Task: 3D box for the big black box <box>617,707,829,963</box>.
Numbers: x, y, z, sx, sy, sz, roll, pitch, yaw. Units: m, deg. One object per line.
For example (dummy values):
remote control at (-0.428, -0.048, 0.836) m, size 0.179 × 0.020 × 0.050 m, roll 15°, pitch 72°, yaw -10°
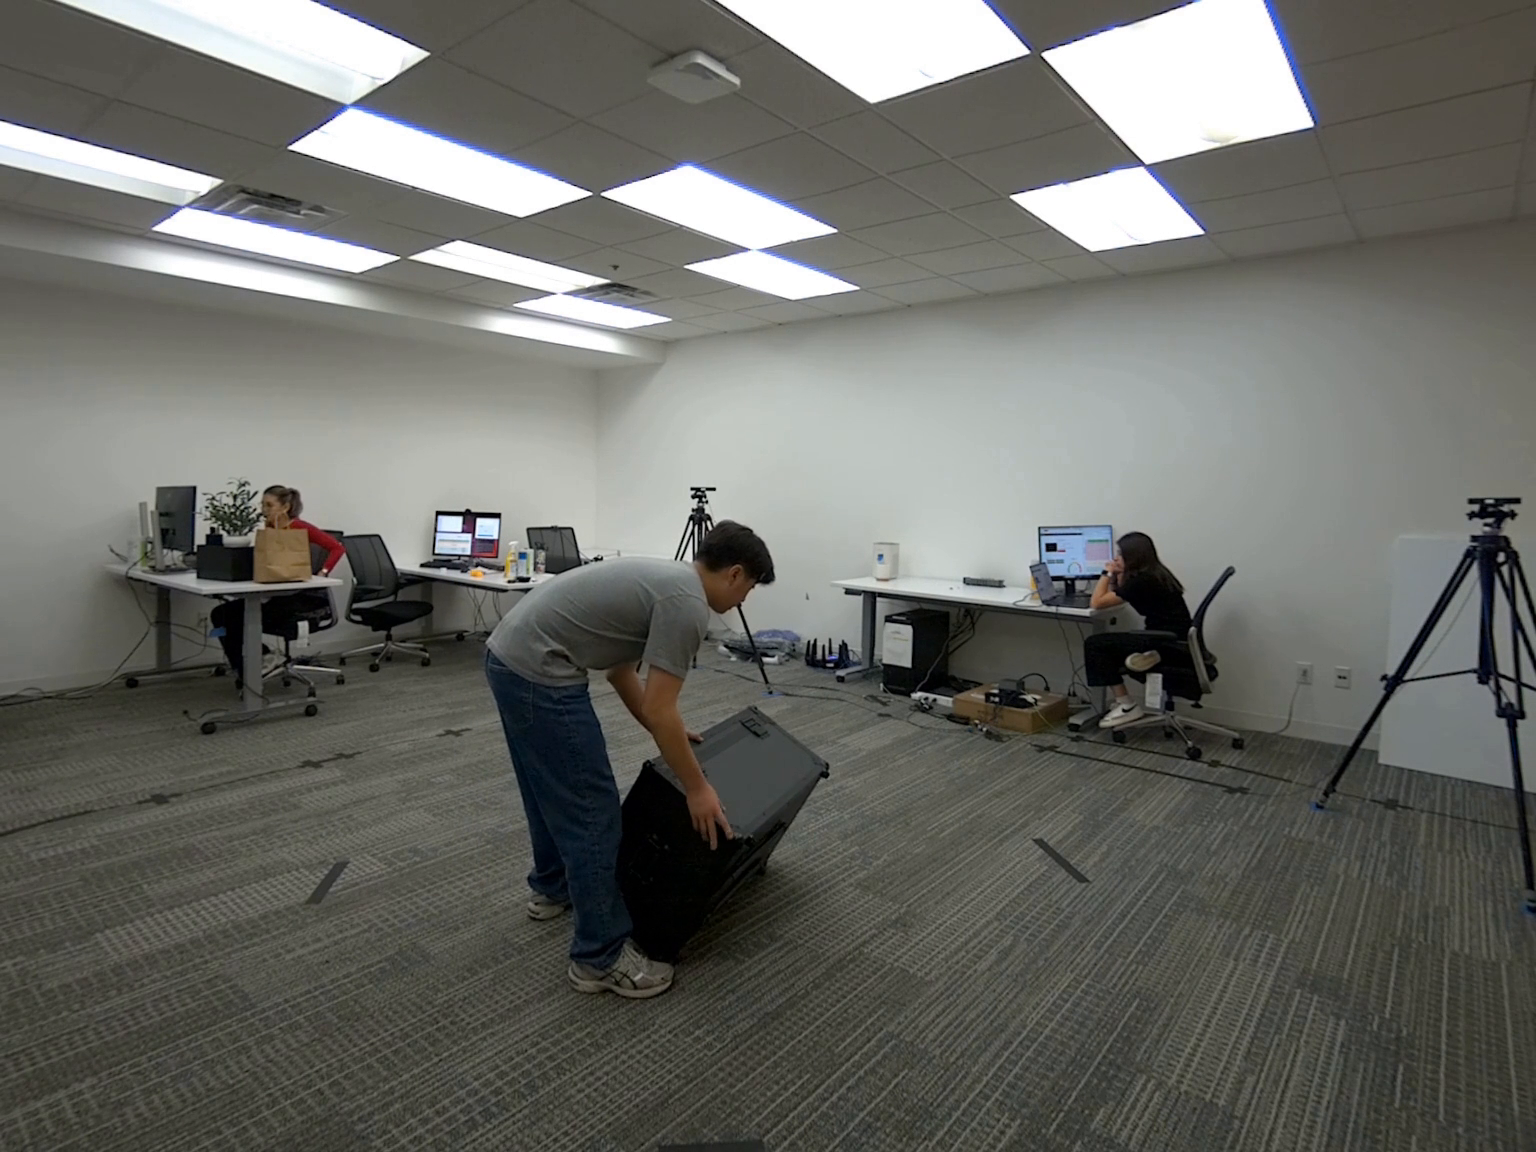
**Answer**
big black box at (-0.165, 0.800, 2.820) m, size 0.406 × 0.518 × 0.844 m, roll 34°, pitch 16°, yaw 16°
